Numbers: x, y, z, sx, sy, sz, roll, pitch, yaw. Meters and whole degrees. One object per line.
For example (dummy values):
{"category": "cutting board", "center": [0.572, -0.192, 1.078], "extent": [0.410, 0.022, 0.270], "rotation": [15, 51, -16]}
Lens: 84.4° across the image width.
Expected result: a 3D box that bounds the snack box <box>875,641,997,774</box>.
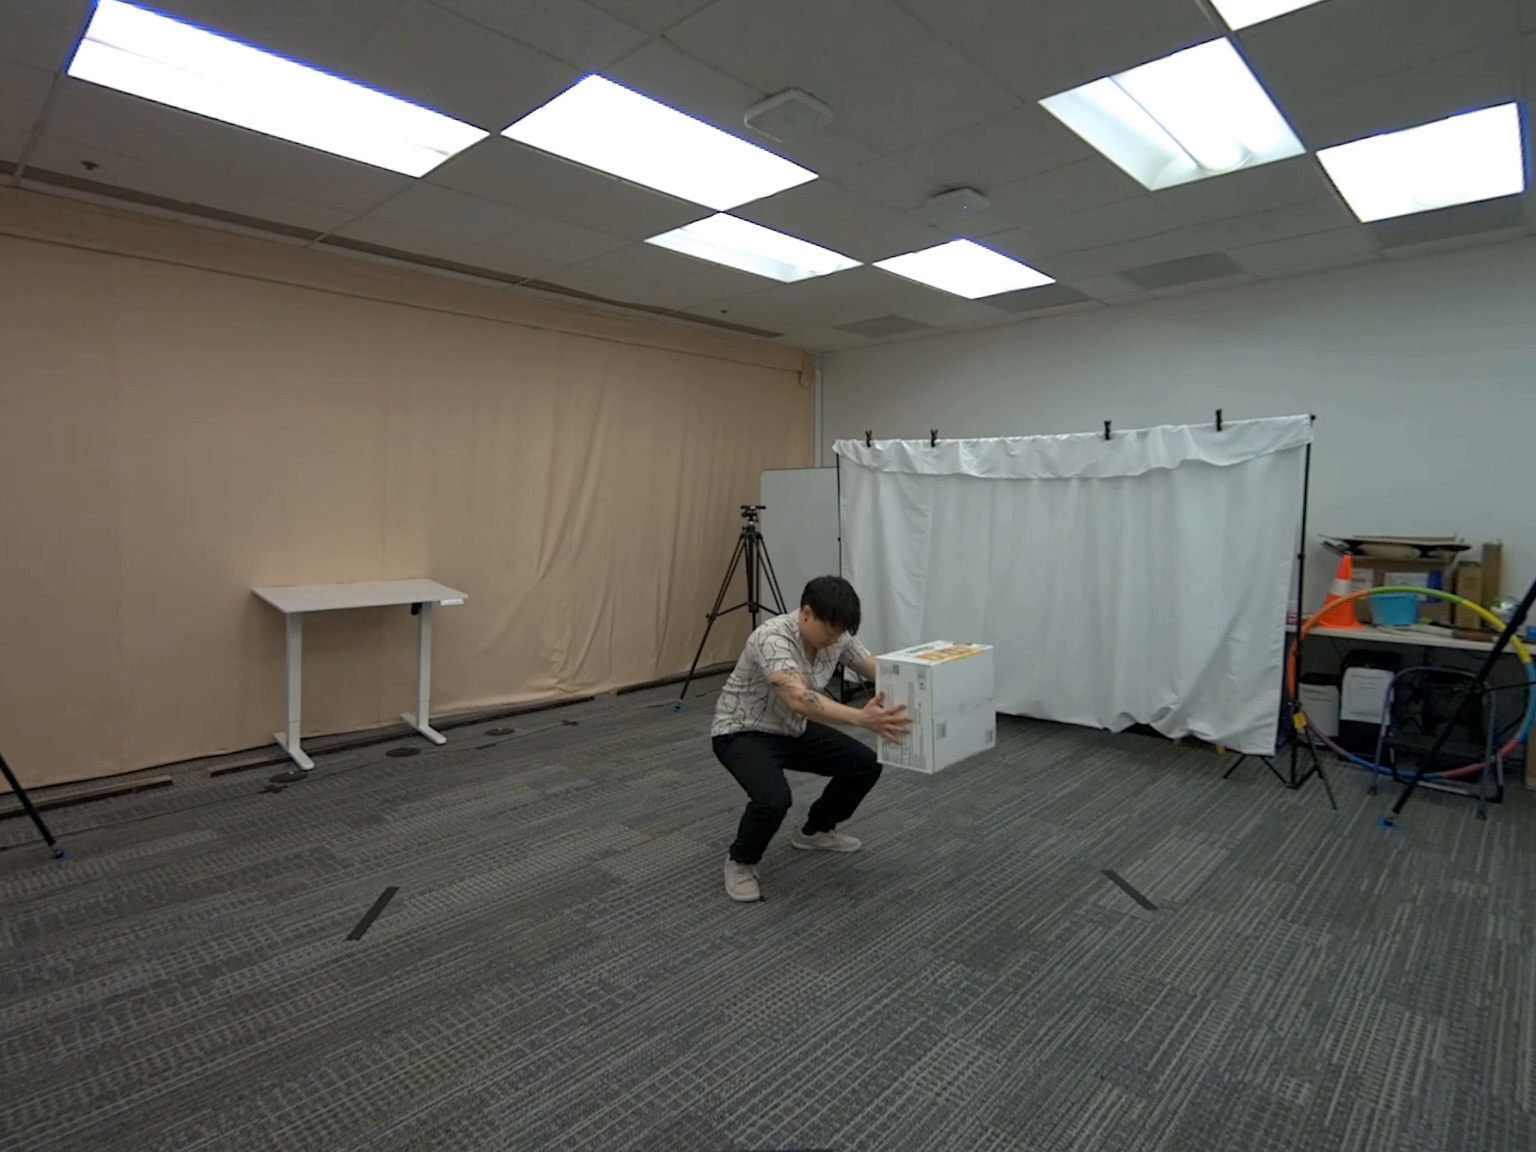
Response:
{"category": "snack box", "center": [0.558, 0.412, 2.744], "extent": [0.212, 0.339, 0.393], "rotation": [1, 5, 43]}
